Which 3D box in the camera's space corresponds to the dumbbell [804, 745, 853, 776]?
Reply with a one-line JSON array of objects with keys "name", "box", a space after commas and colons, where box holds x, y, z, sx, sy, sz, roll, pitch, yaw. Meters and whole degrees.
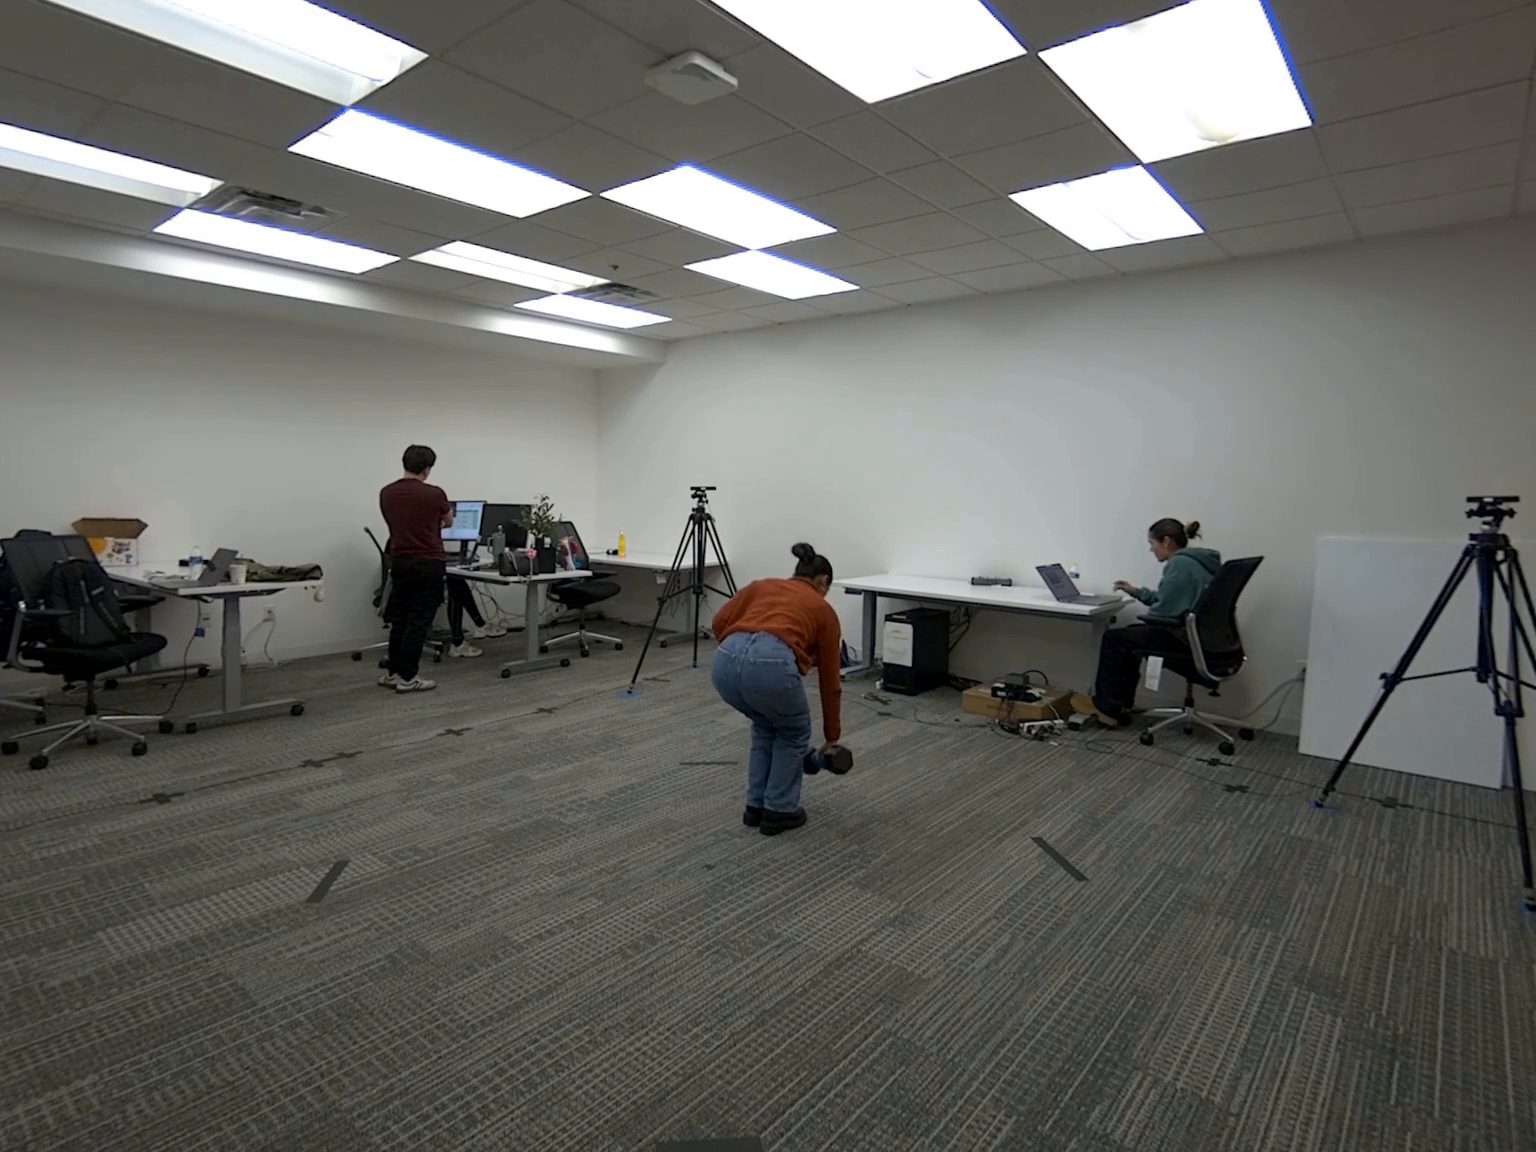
[{"name": "dumbbell", "box": [0.230, 0.784, 3.664, 0.106, 0.124, 0.298, -1, -10, -32]}]
